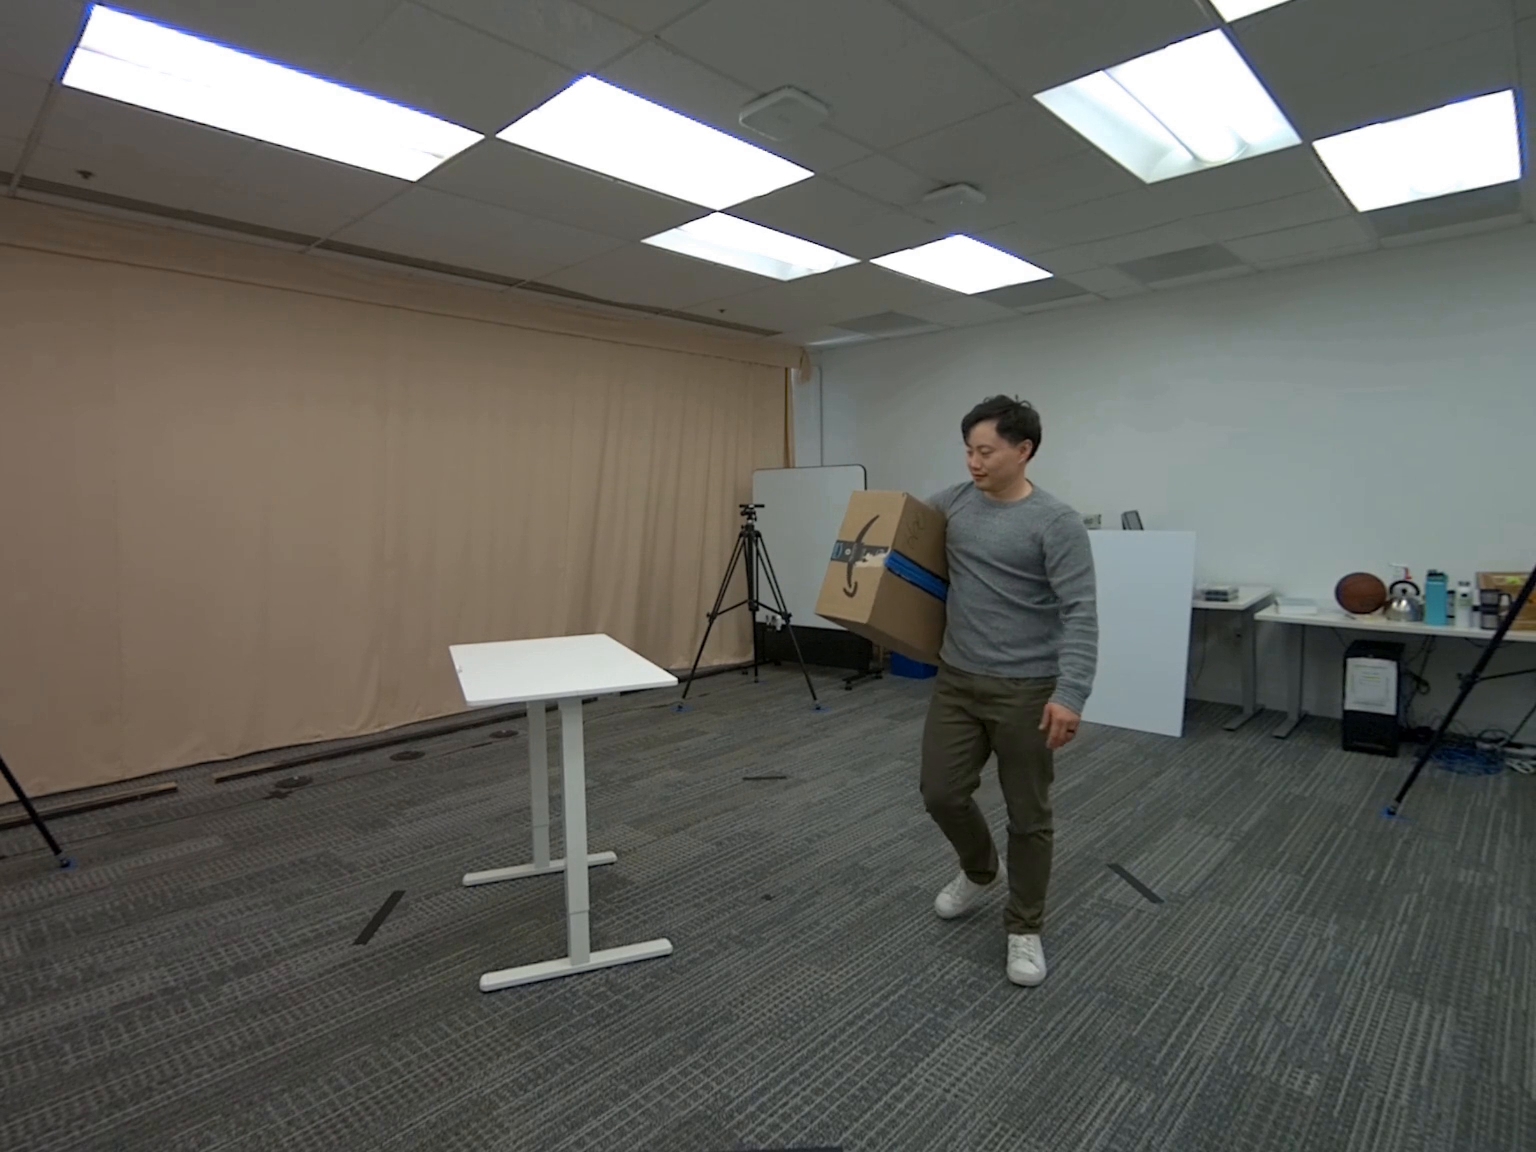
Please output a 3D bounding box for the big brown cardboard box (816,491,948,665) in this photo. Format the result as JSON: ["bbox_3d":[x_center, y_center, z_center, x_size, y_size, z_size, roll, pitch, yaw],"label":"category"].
[{"bbox_3d":[0.460,0.027,2.729,0.568,0.418,0.241,25,-11,-41],"label":"big brown cardboard box"}]
